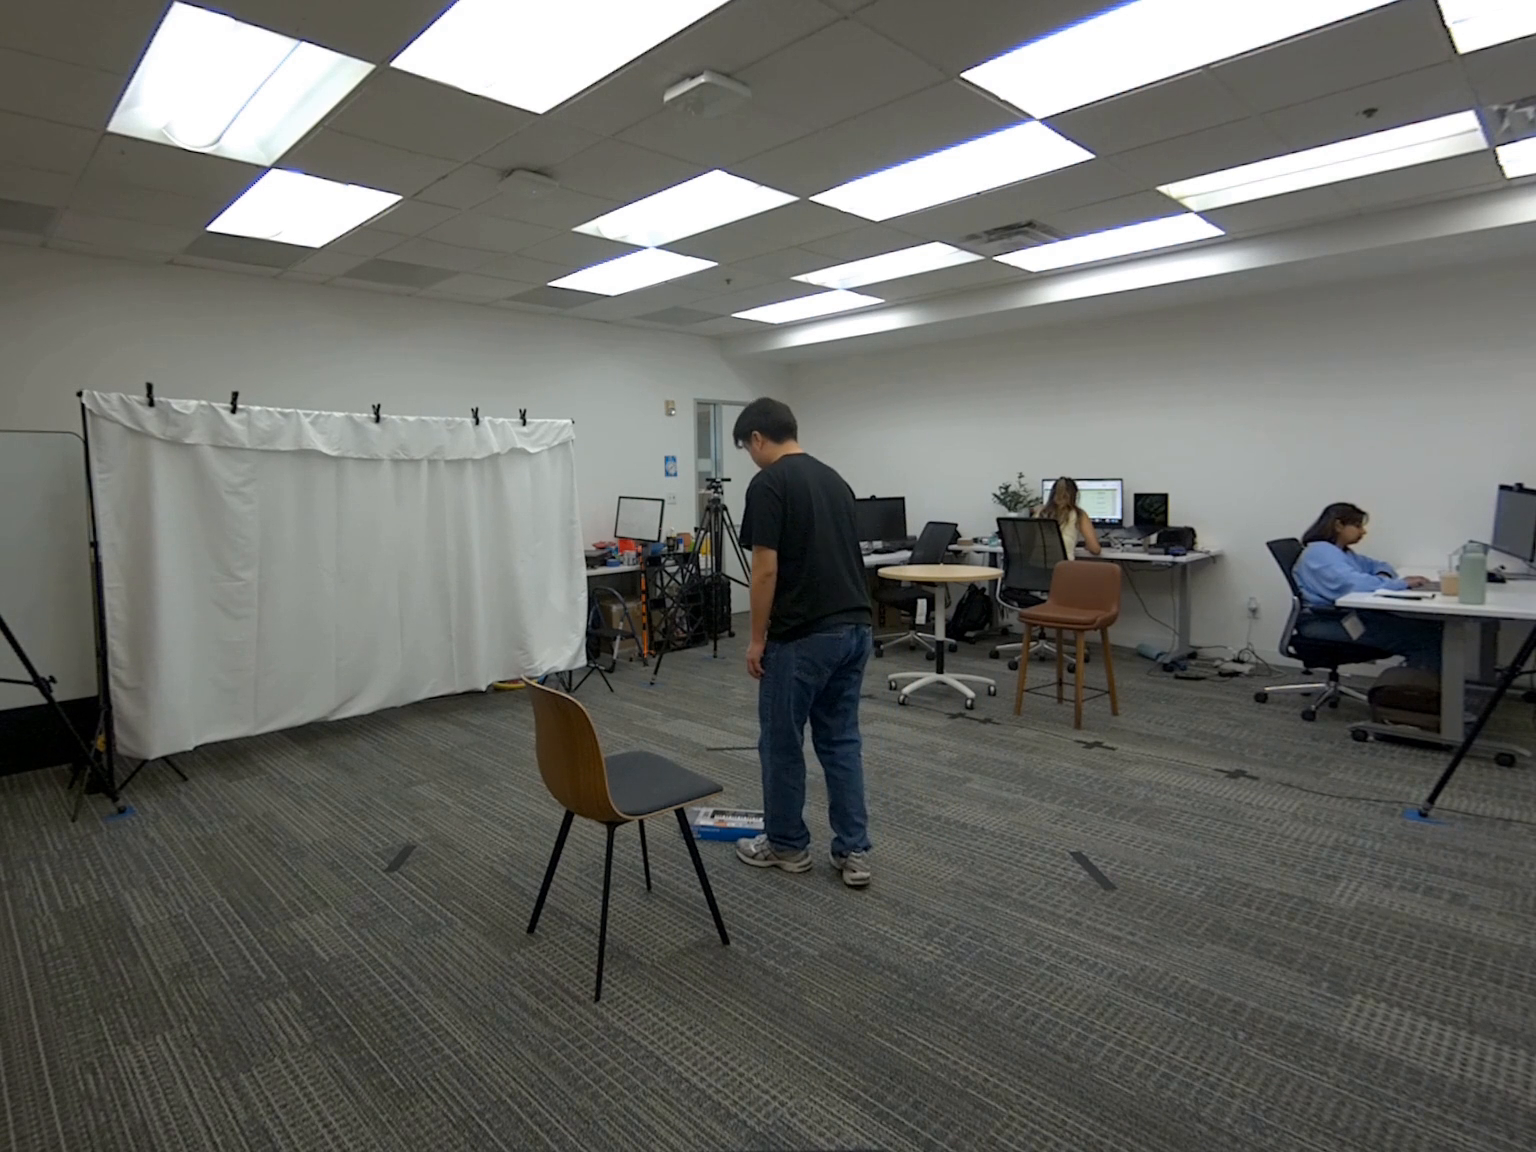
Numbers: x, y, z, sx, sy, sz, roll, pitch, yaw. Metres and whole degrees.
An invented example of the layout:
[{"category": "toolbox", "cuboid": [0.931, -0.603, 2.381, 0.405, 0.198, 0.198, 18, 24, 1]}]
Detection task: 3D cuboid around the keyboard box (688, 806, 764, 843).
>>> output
[{"category": "keyboard box", "cuboid": [-0.115, 0.988, 3.376, 0.441, 0.059, 0.175, 0, 7, 11]}]
